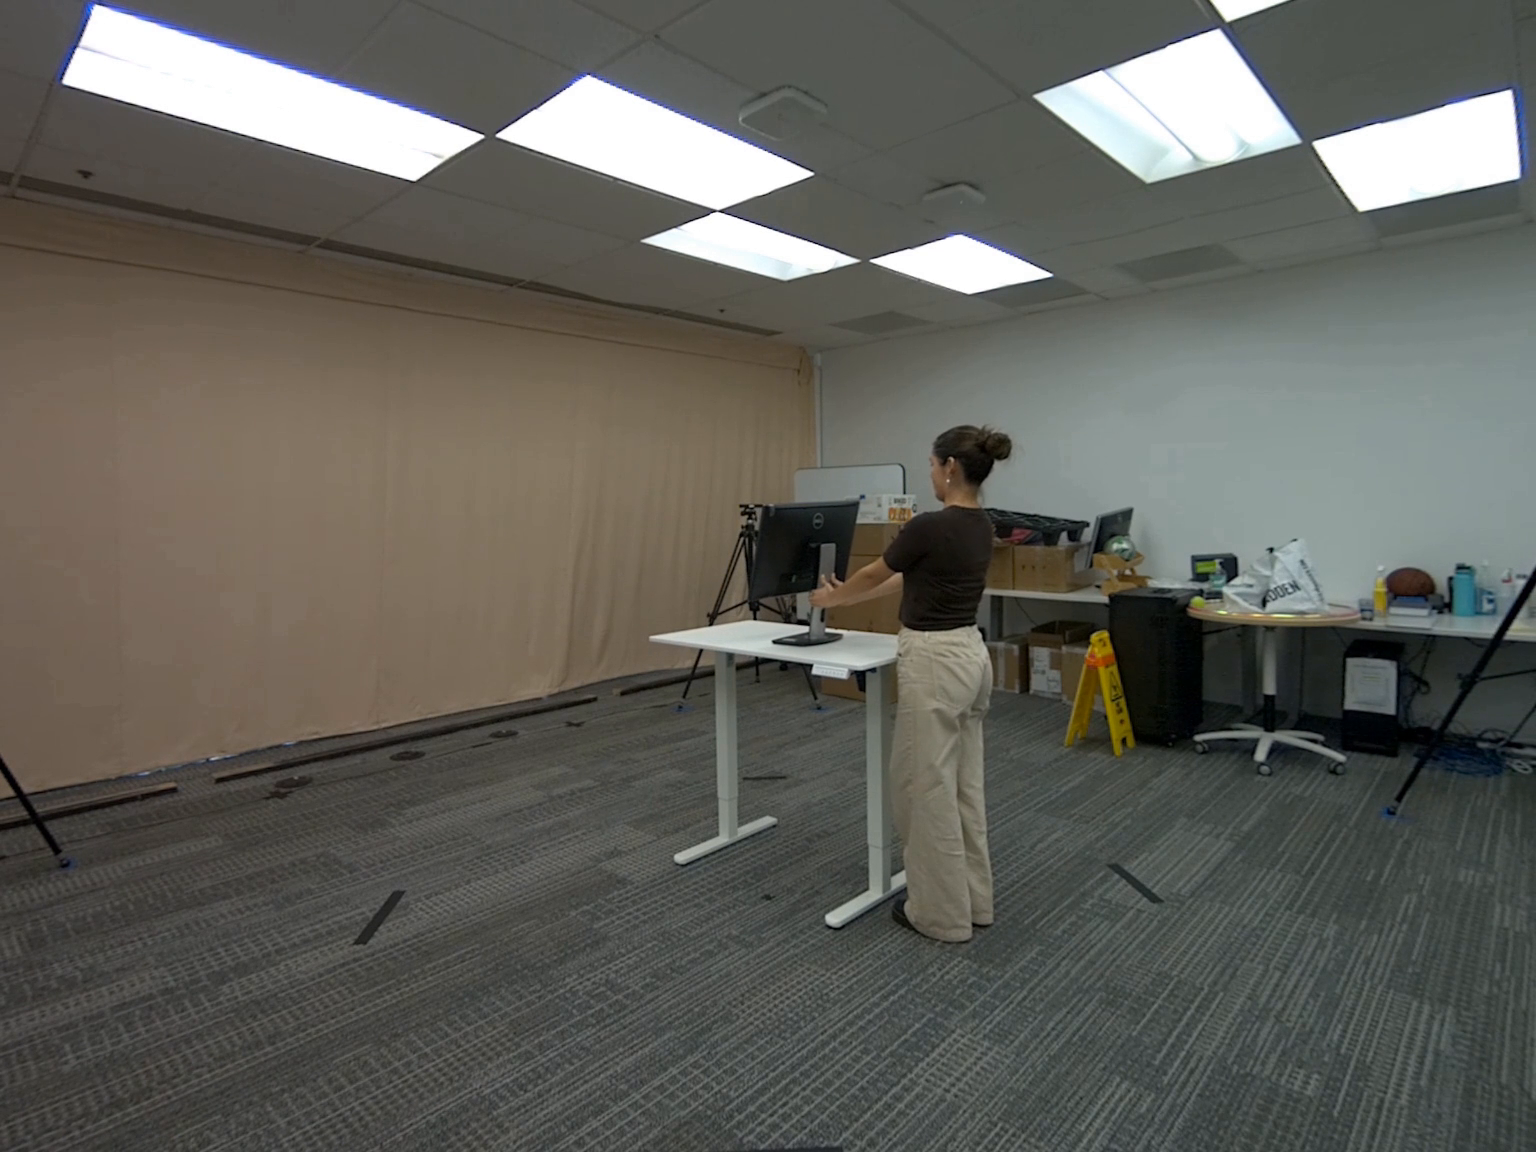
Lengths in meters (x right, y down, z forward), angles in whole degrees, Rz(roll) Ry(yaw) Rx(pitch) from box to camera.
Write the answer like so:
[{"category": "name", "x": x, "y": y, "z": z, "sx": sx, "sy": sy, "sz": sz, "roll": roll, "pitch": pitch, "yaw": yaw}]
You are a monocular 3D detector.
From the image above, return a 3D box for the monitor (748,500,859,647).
[{"category": "monitor", "x": 0.166, "y": -0.010, "z": 3.113, "sx": 0.193, "sy": 0.521, "sz": 0.523, "roll": 5, "pitch": 8, "yaw": 43}]
